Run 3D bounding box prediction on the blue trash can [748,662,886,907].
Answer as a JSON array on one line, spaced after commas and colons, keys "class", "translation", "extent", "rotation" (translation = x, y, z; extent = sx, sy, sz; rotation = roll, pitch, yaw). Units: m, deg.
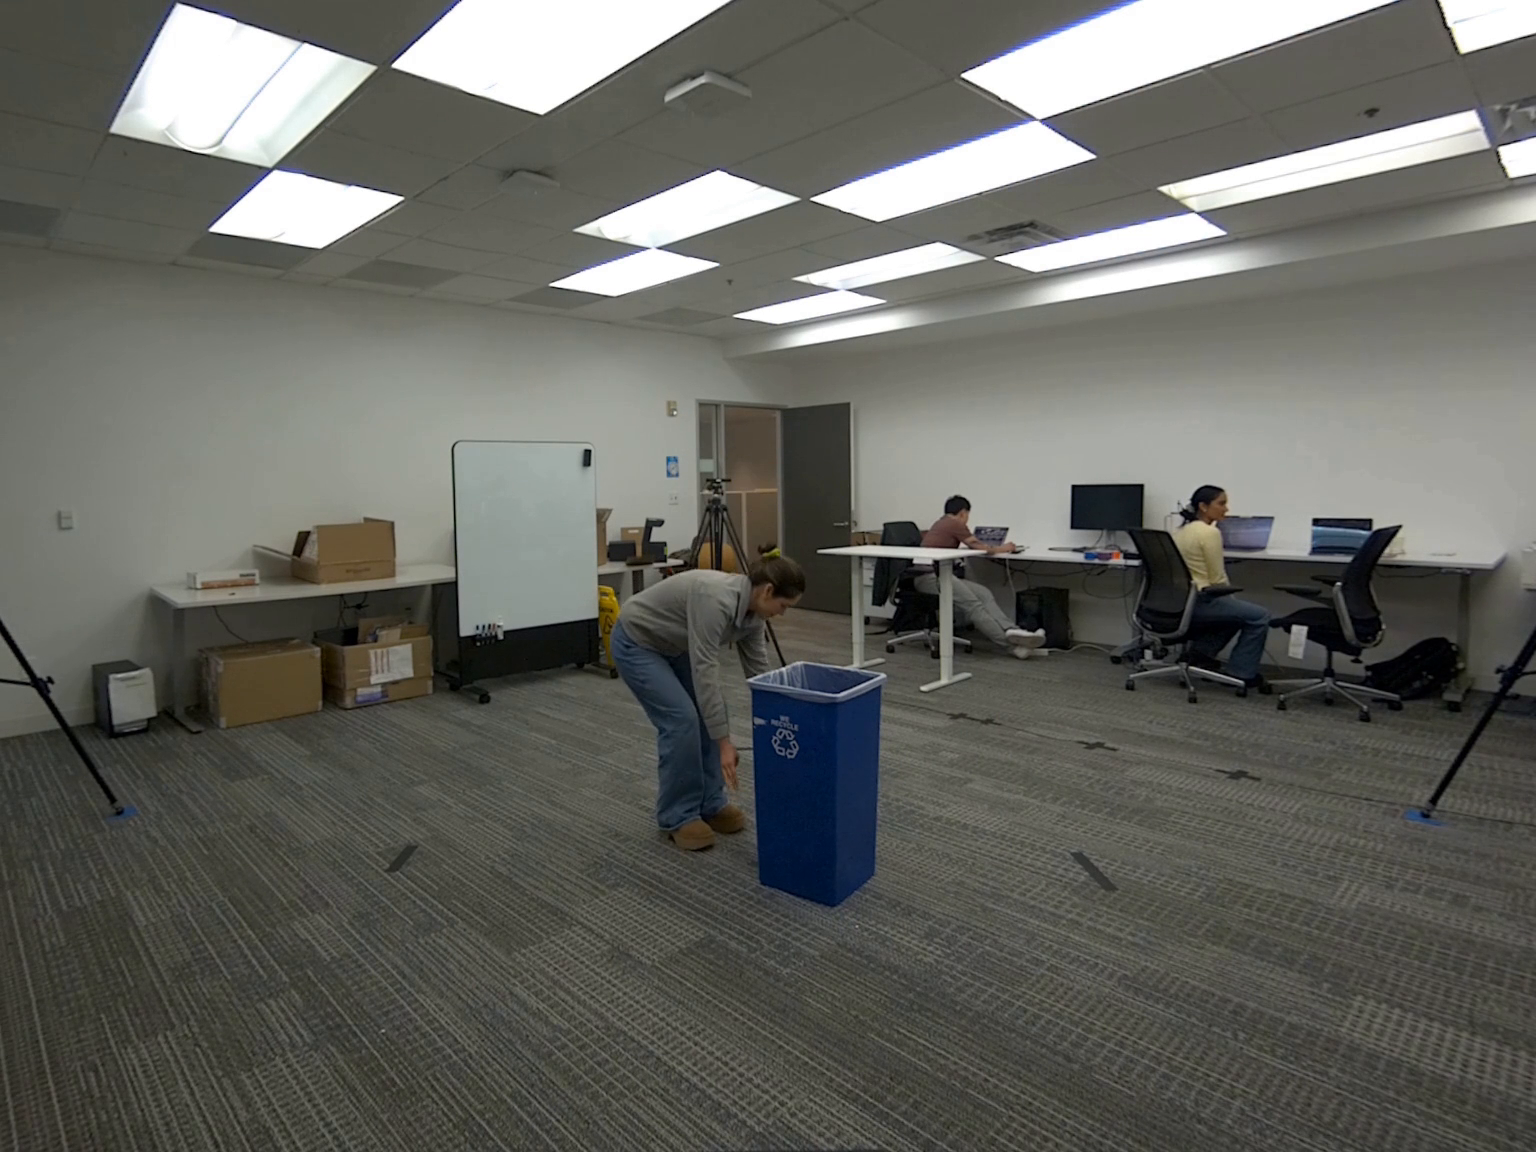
[{"class": "blue trash can", "translation": [0.181, 0.701, 2.949], "extent": [0.385, 0.711, 0.369], "rotation": [2, 5, 35]}]
